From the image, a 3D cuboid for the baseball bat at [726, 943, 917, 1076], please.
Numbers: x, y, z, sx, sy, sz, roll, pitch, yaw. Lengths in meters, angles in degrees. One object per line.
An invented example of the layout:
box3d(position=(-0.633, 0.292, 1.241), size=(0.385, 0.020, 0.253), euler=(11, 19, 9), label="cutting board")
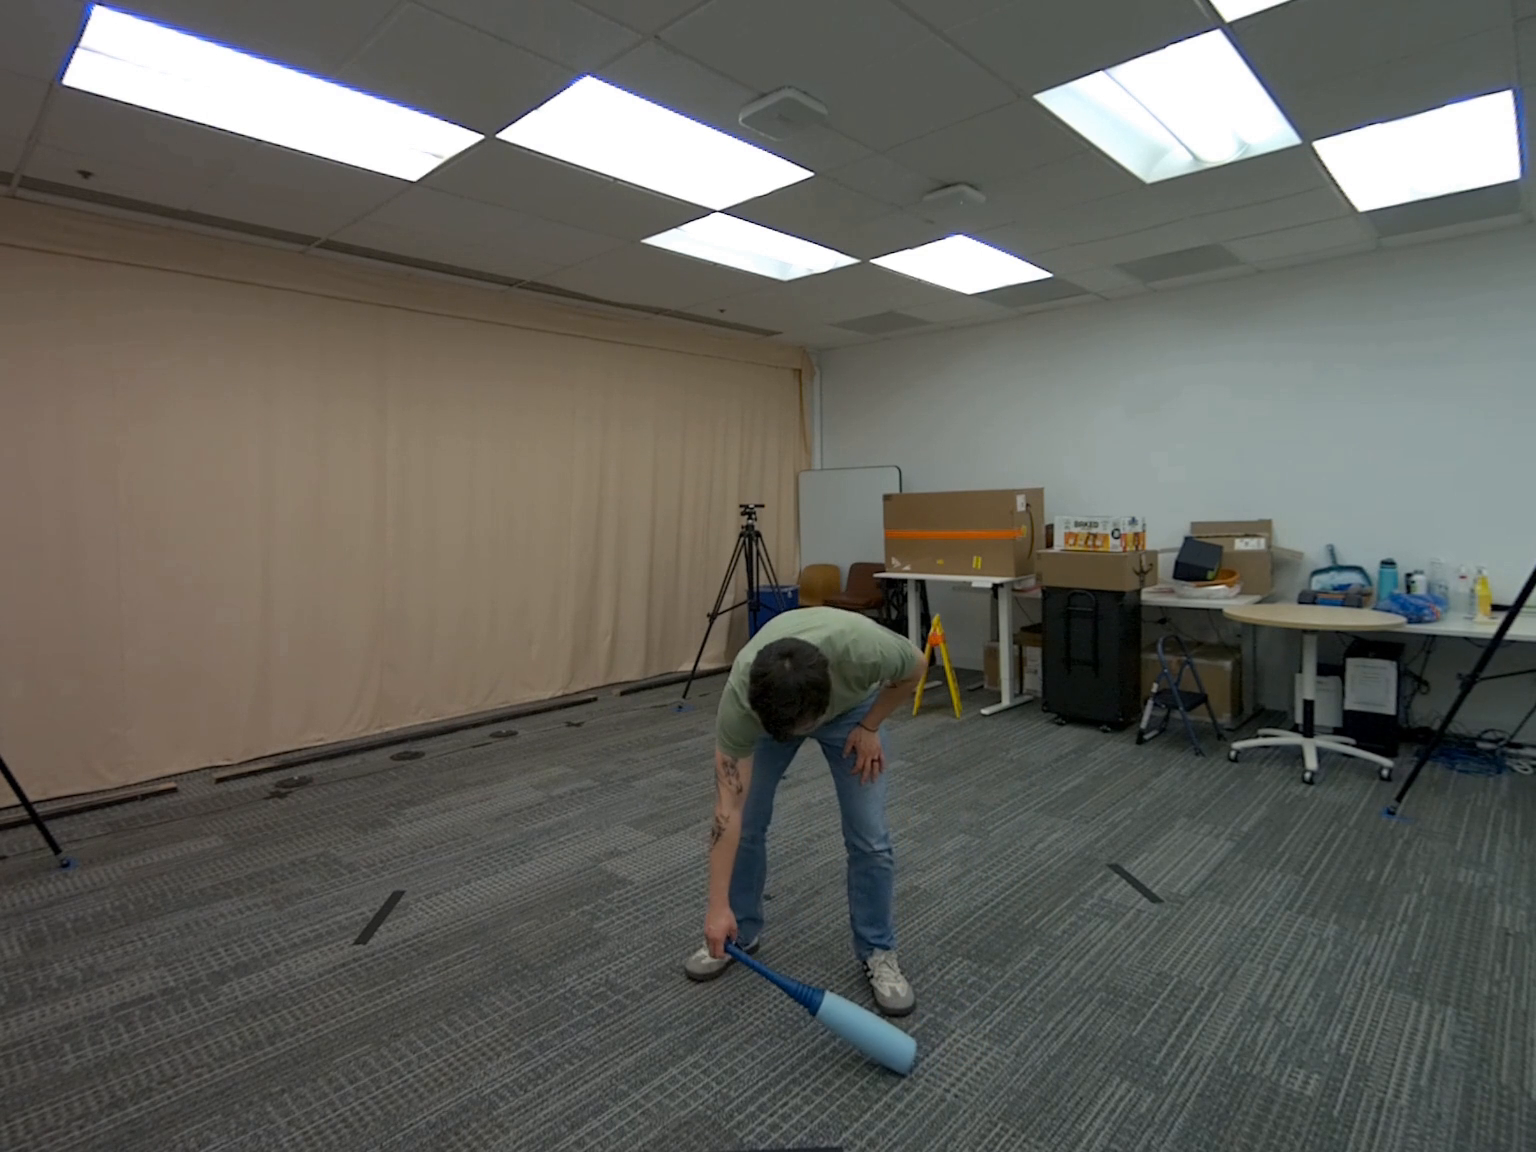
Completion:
box3d(position=(0.126, 1.068, 2.097), size=(0.545, 0.089, 0.089), euler=(24, 4, 2), label="baseball bat")
